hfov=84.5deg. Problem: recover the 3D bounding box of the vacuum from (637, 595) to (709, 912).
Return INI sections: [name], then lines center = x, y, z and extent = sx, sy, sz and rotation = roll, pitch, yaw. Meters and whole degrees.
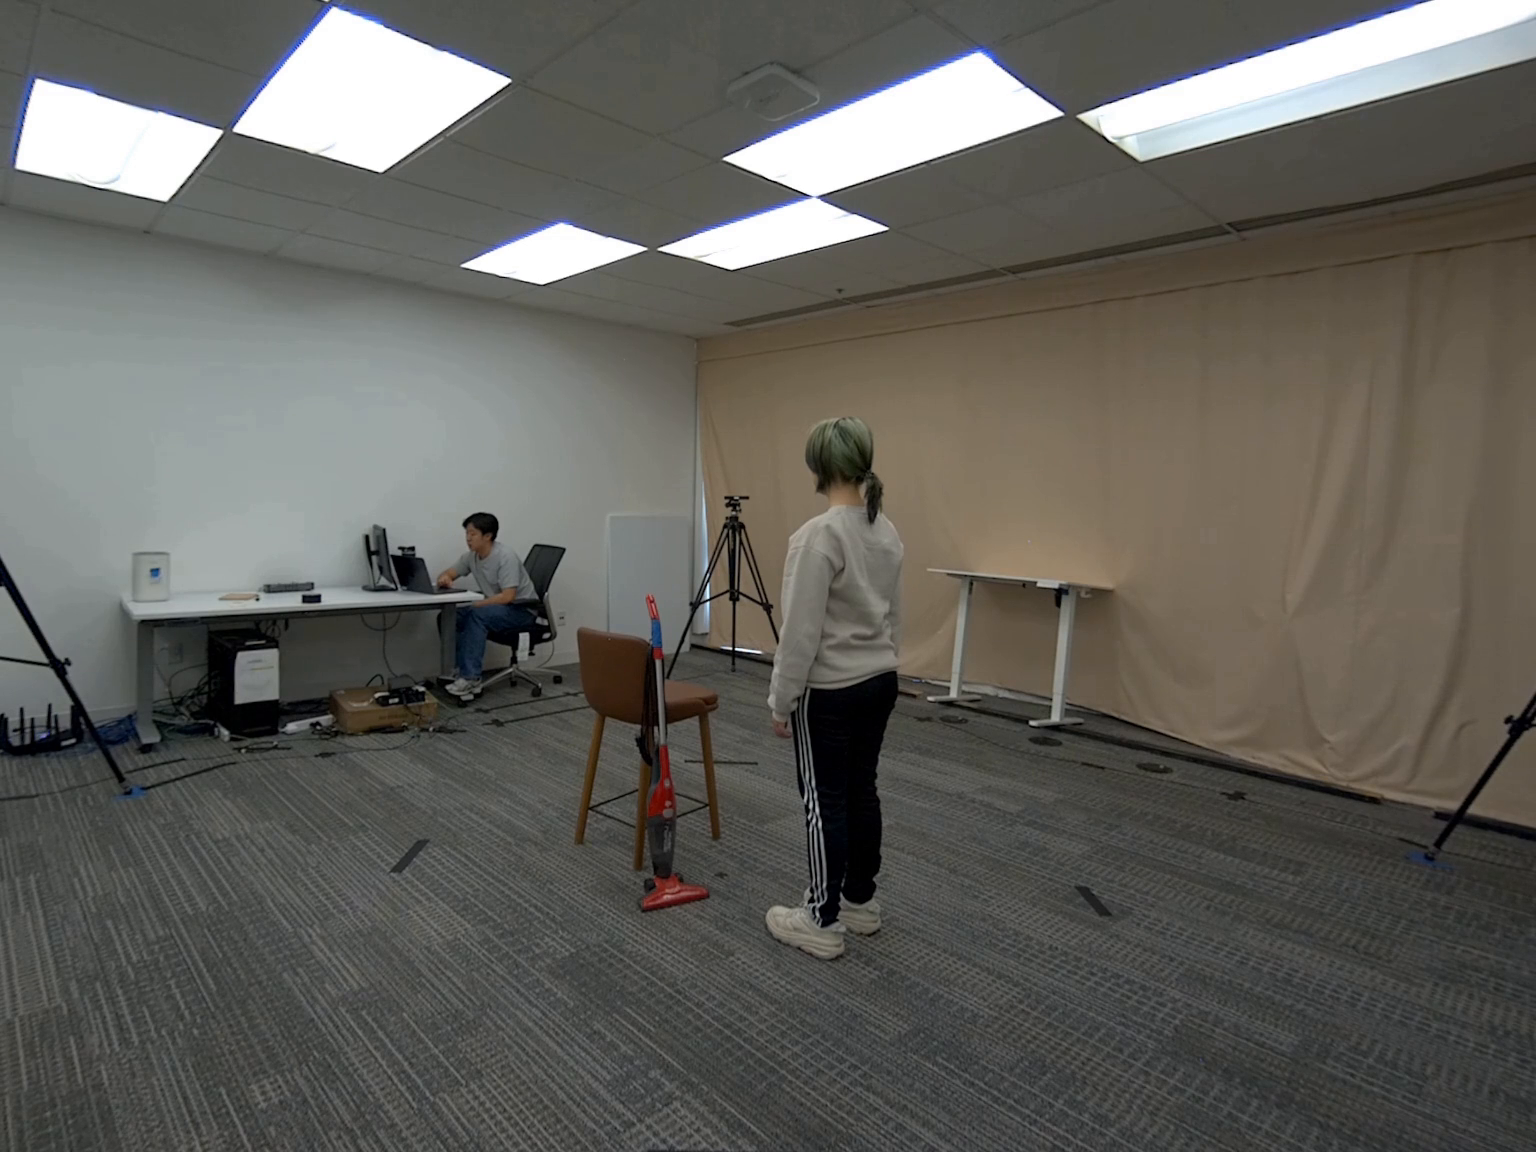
[vacuum]
center = -0.402, 0.603, 3.012
extent = 0.247, 1.057, 0.146
rotation = -1, -10, -30
